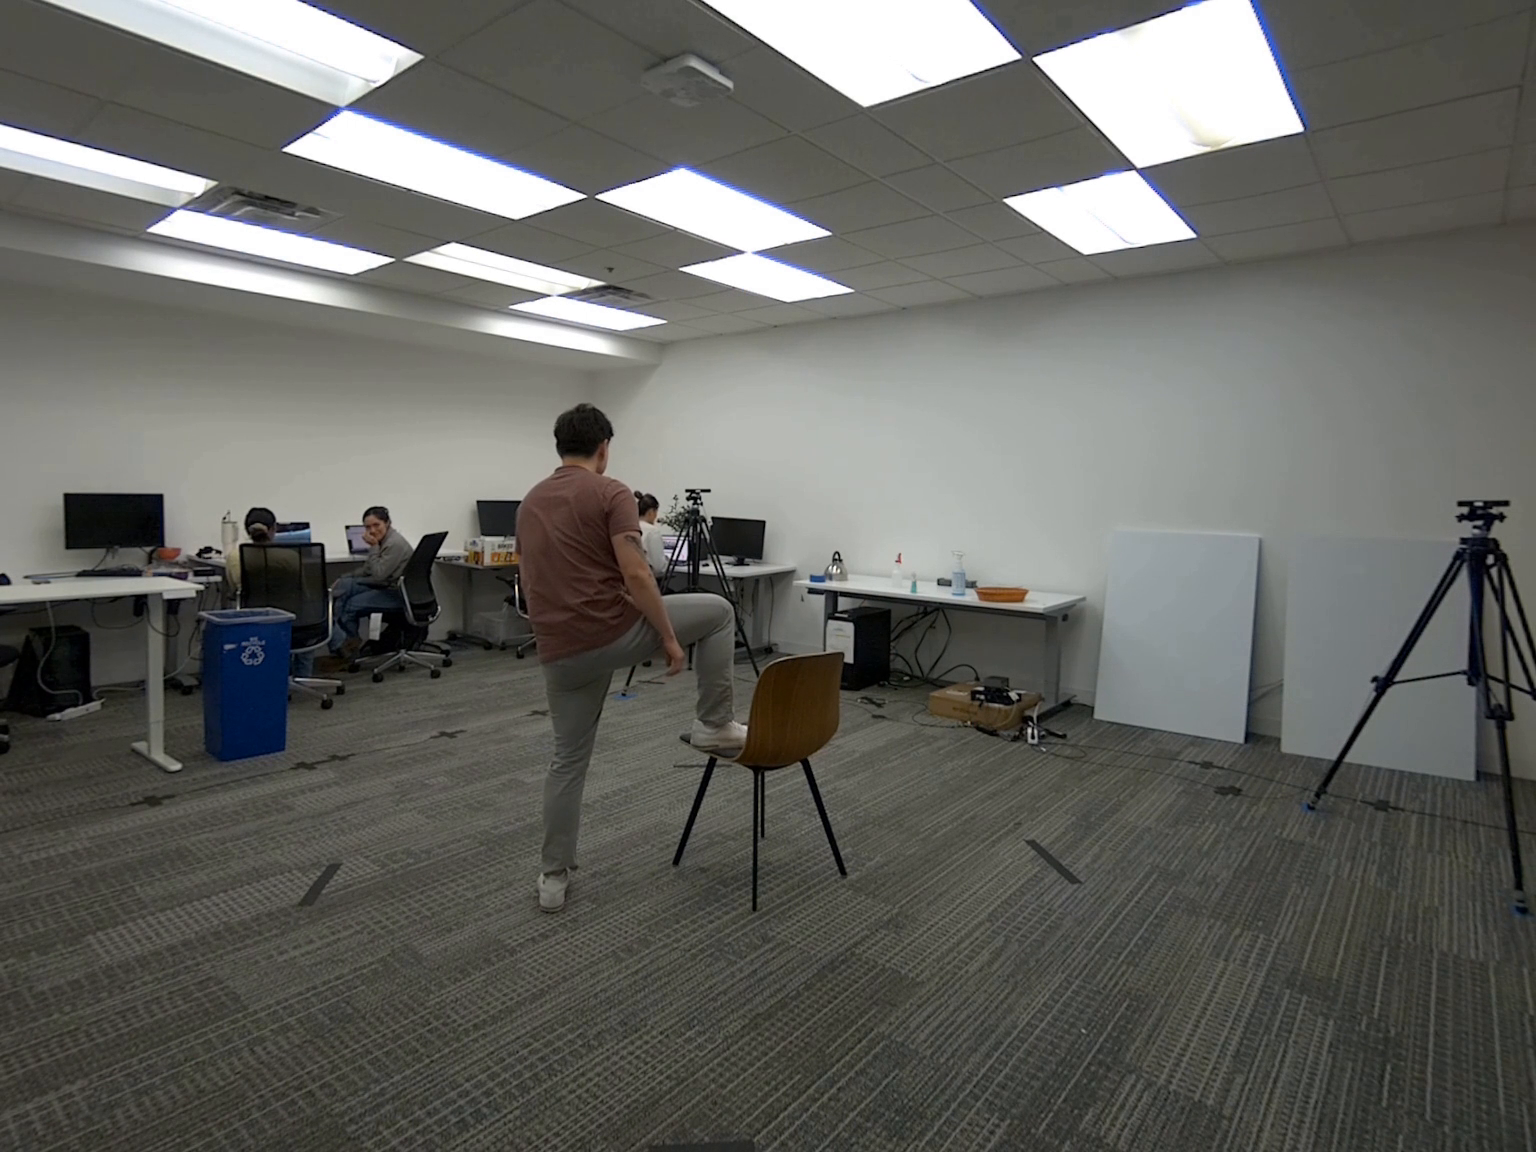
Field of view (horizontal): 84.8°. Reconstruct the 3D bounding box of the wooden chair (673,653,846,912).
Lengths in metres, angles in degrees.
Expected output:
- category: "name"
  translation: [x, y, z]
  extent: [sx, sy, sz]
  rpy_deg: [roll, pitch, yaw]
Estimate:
- category: "wooden chair"
  translation: [-0.039, 0.653, 3.101]
  extent: [0.463, 0.872, 0.542]
  rpy_deg: [-2, 9, -42]
